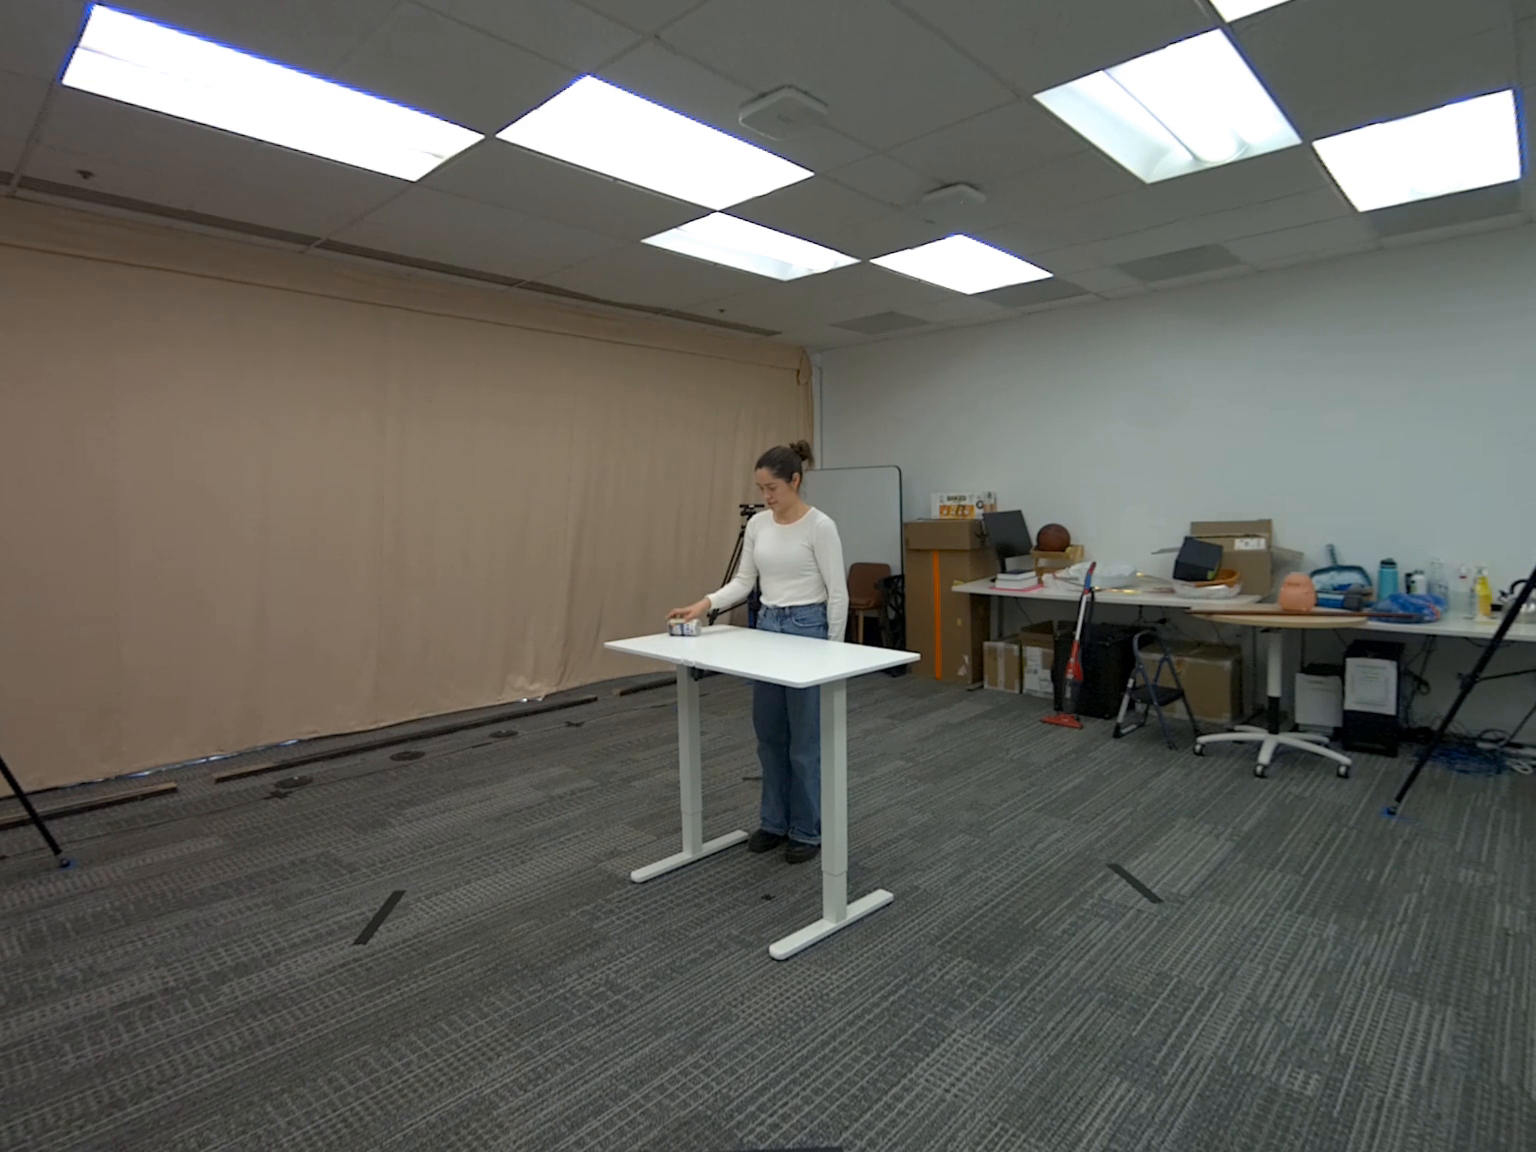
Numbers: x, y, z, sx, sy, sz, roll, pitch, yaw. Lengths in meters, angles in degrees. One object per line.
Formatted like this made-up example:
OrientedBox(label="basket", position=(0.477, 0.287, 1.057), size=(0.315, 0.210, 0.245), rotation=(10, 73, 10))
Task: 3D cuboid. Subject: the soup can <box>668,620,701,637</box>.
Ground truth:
OrientedBox(label="soup can", position=(-0.324, 0.202, 3.300), size=(0.123, 0.067, 0.066), rotation=(-1, 4, 9))
